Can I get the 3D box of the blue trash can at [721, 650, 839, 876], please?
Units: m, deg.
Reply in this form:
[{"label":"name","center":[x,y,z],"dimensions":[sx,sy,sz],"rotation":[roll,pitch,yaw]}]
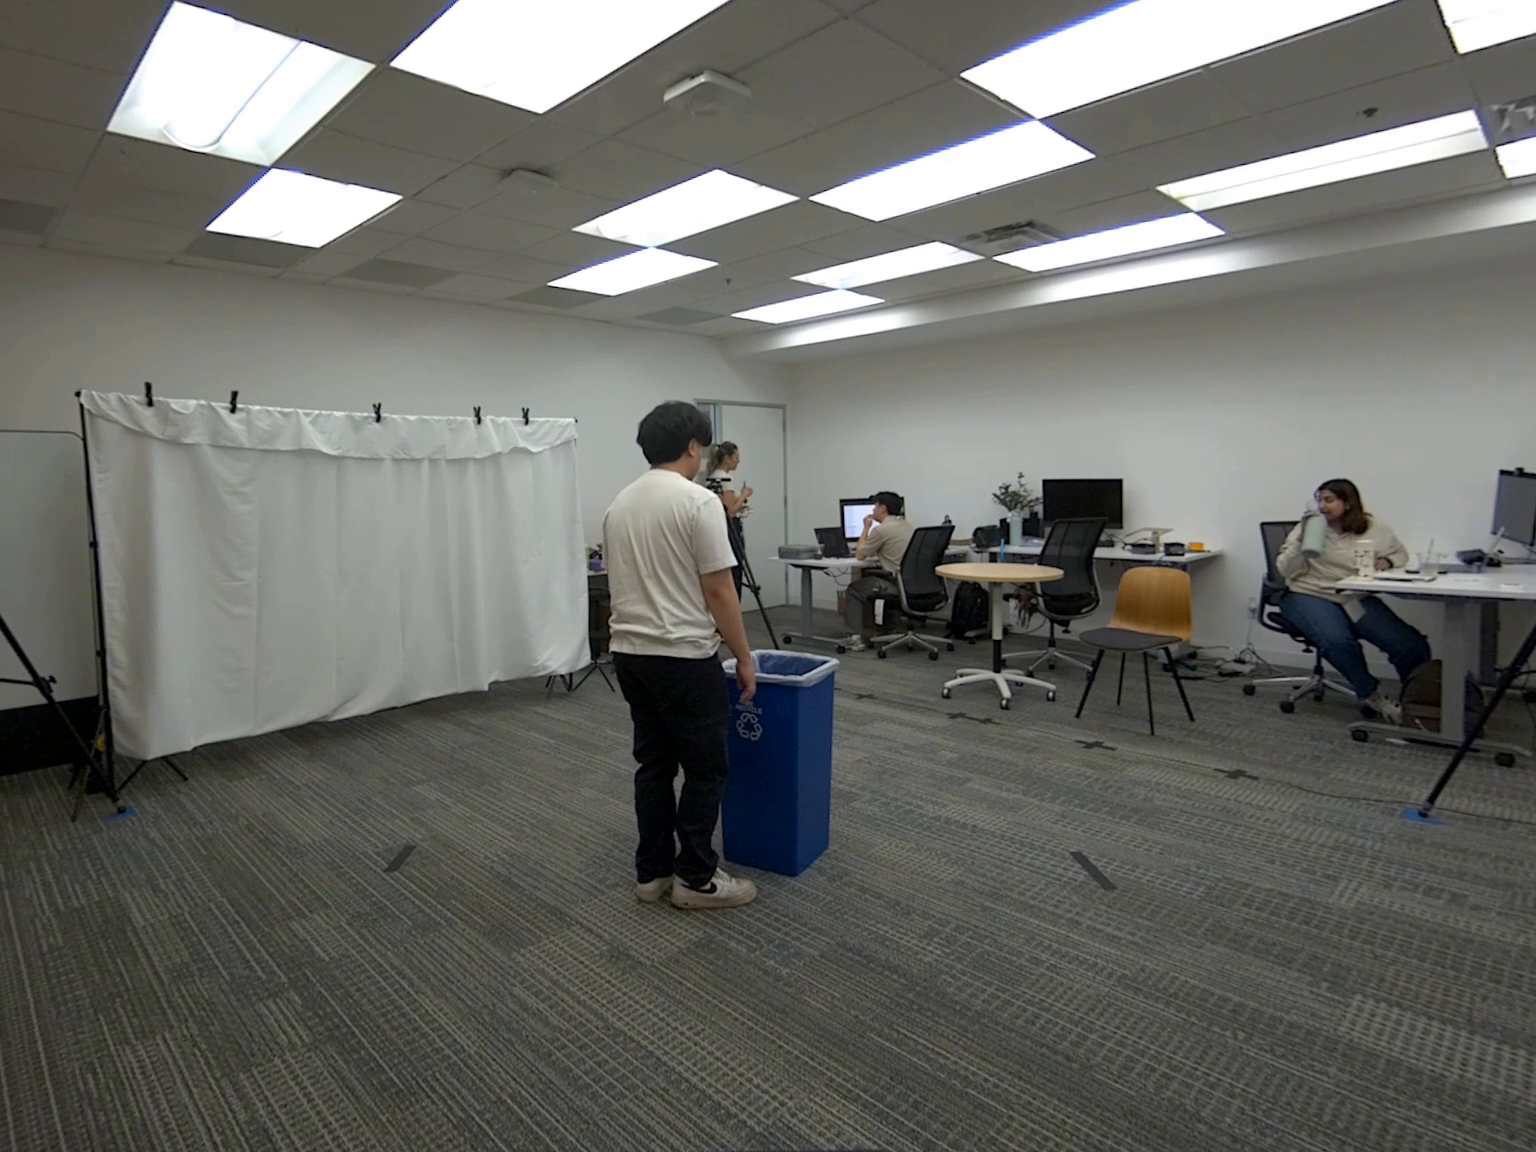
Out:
[{"label":"blue trash can","center":[0.041,0.675,3.162],"dimensions":[0.383,0.711,0.370],"rotation":[1,5,28]}]
